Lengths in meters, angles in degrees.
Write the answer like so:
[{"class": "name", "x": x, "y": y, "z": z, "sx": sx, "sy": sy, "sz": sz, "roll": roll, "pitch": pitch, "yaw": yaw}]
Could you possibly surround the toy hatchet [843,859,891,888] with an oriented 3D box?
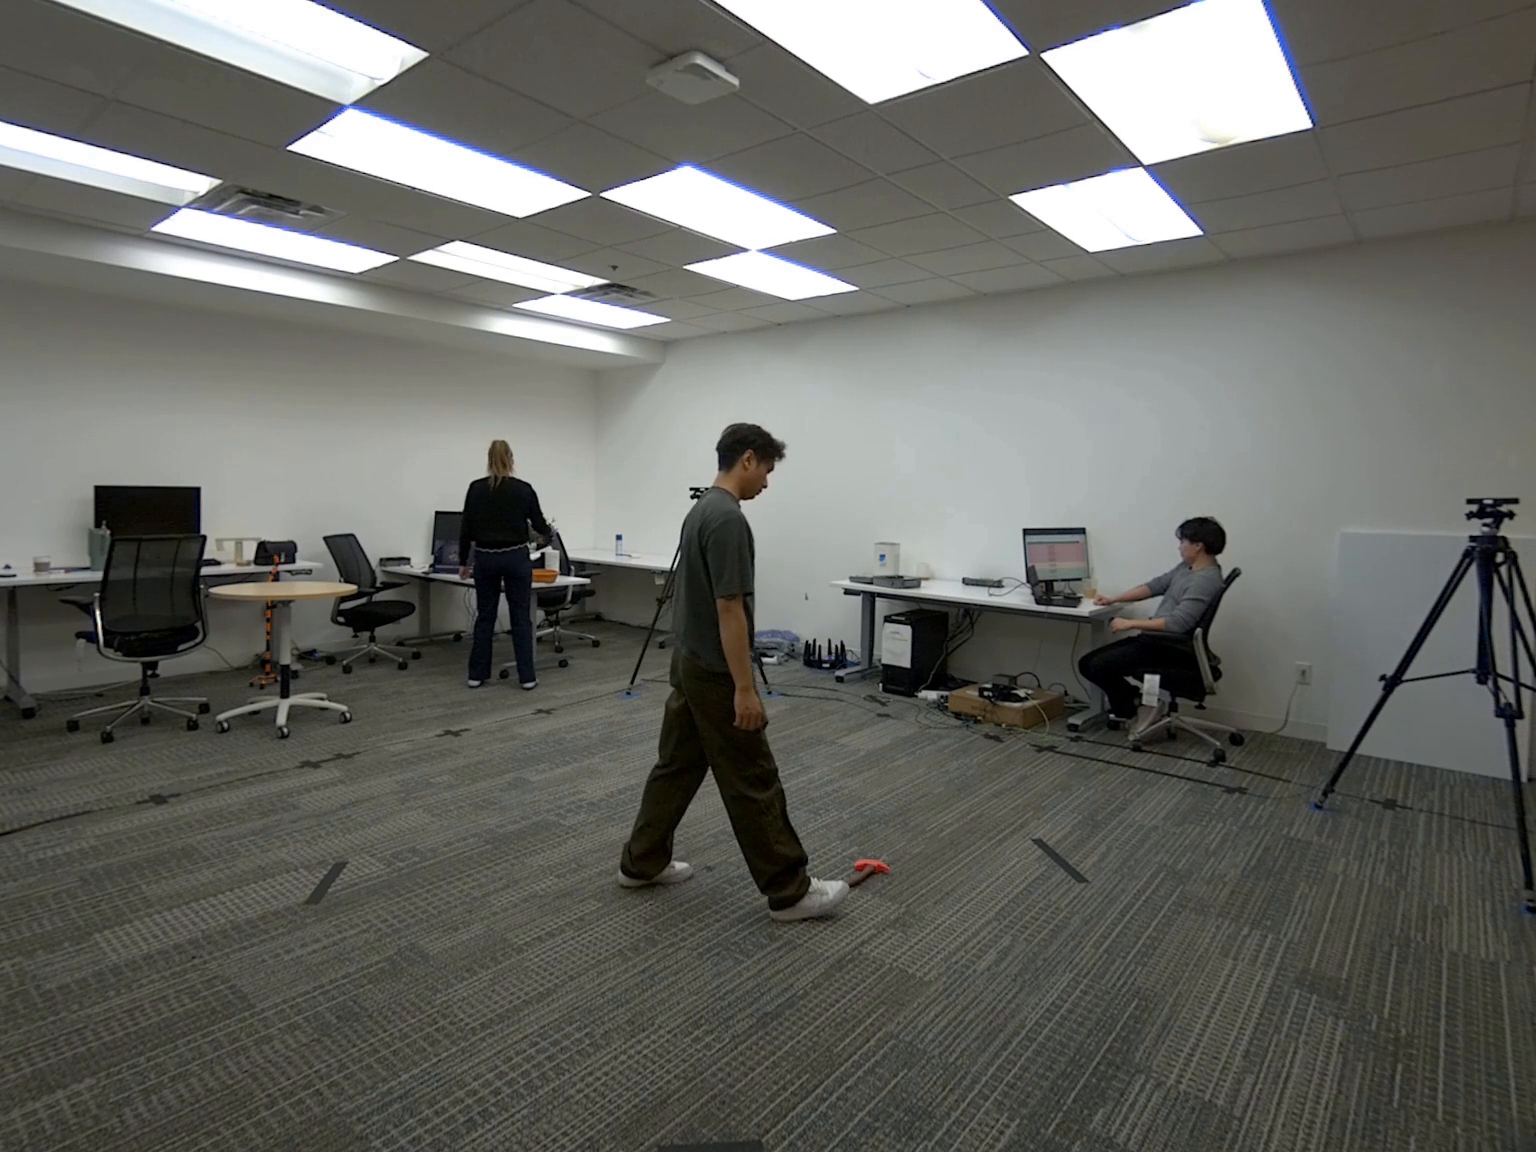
[{"class": "toy hatchet", "x": 0.304, "y": 1.075, "z": 3.070, "sx": 0.262, "sy": 0.029, "sz": 0.135, "roll": -5, "pitch": 9, "yaw": -35}]
